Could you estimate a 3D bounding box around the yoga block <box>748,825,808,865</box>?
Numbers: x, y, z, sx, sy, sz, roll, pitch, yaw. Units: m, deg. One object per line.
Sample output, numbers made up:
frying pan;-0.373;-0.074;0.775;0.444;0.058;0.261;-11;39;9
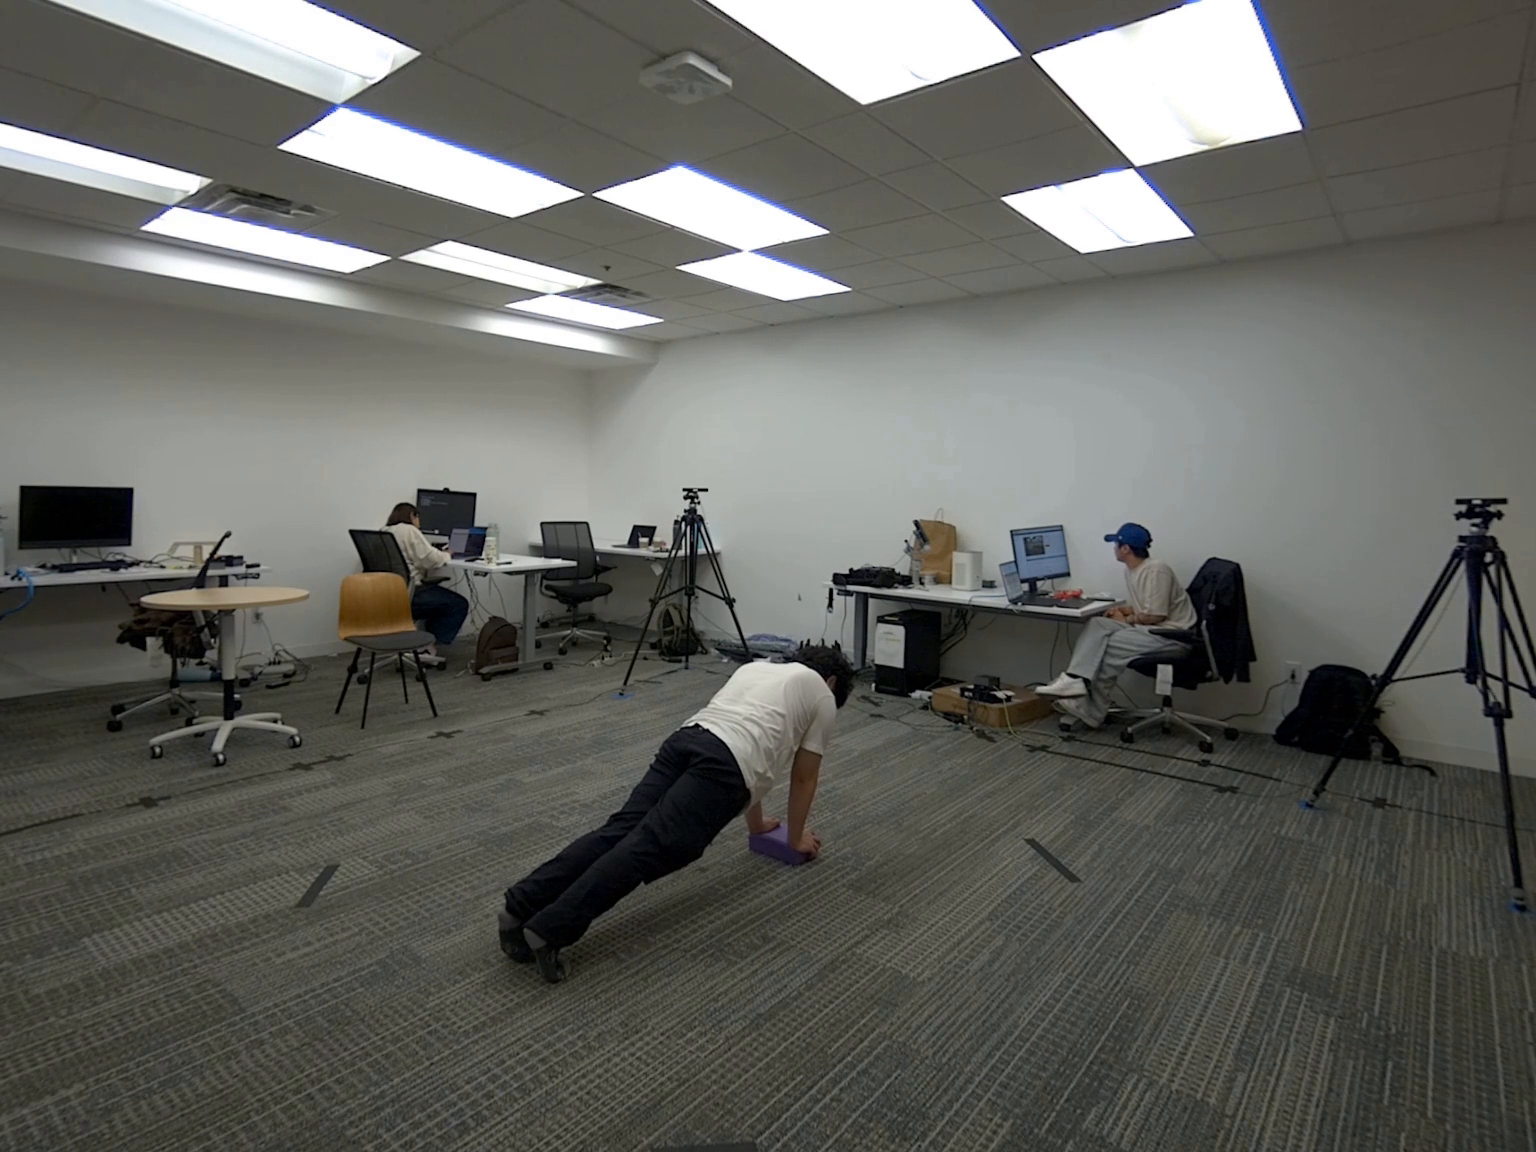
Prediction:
yoga block;0.047;1.024;3.277;0.237;0.076;0.144;5;5;38
